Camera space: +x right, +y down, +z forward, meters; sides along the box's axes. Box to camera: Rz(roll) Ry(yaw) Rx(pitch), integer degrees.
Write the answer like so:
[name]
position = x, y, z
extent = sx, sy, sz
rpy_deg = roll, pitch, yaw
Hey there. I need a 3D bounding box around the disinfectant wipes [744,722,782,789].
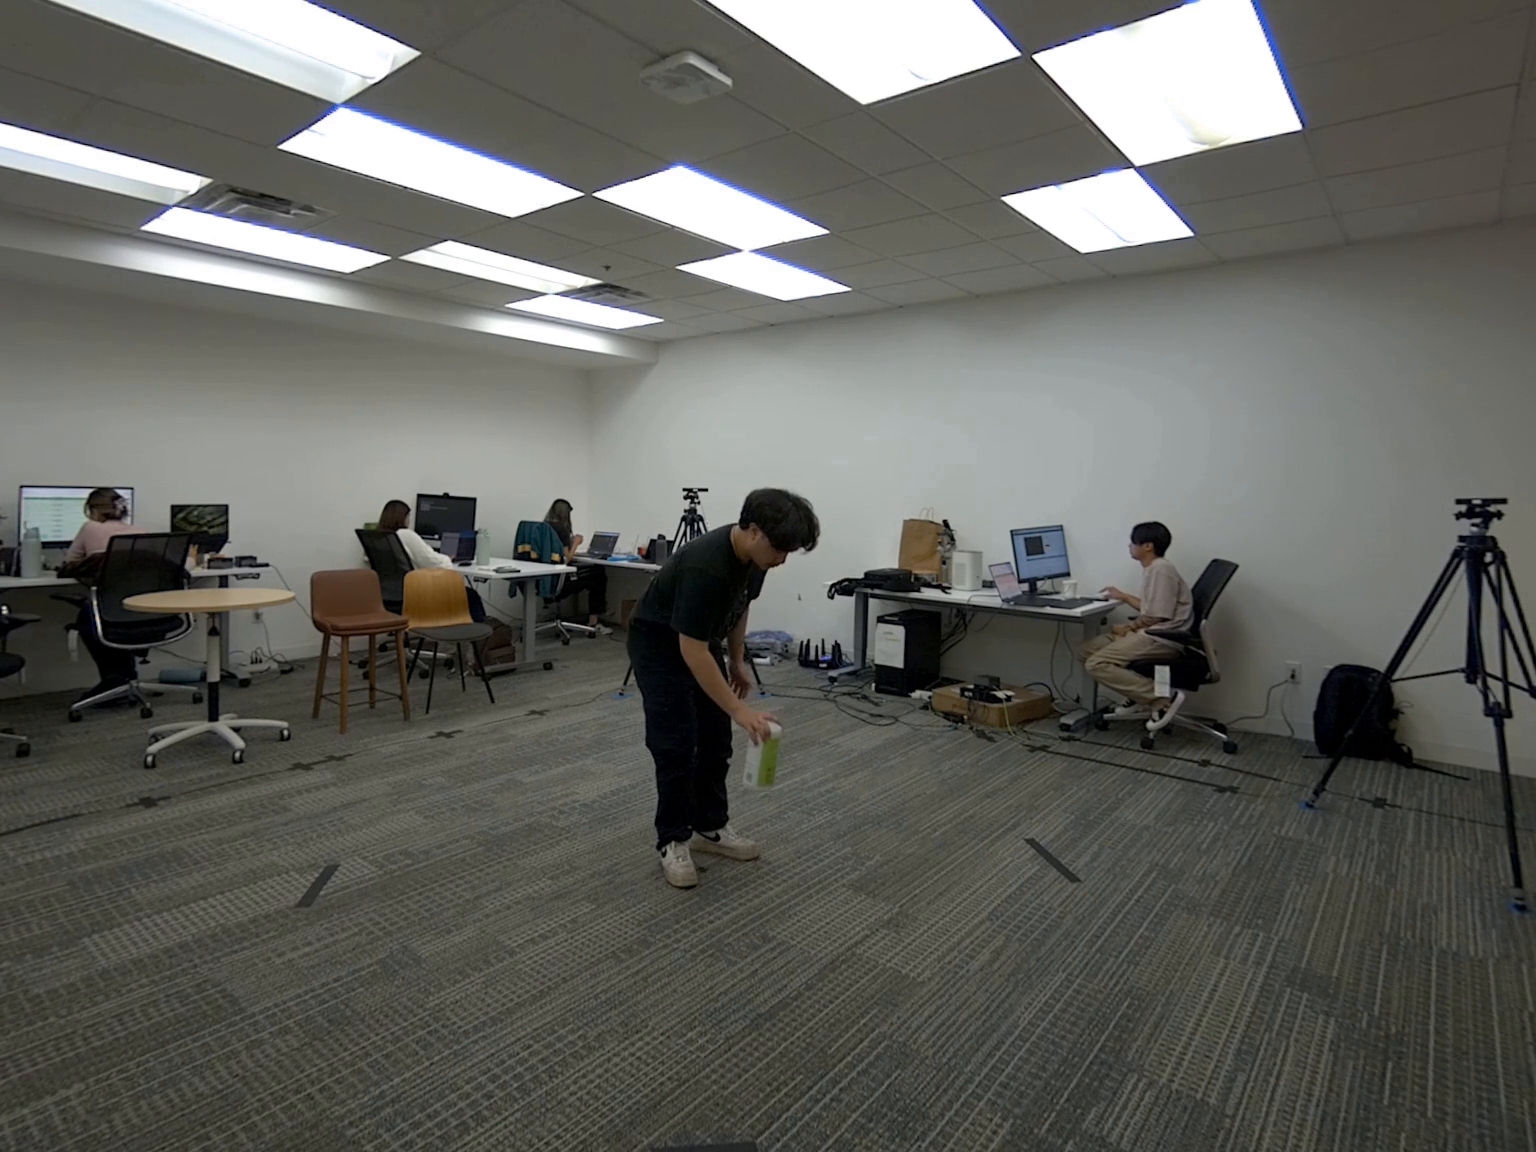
[disinfectant wipes]
position = -0.027, 0.604, 2.898
extent = 0.117, 0.217, 0.118
rpy_deg = 12, 4, -3
